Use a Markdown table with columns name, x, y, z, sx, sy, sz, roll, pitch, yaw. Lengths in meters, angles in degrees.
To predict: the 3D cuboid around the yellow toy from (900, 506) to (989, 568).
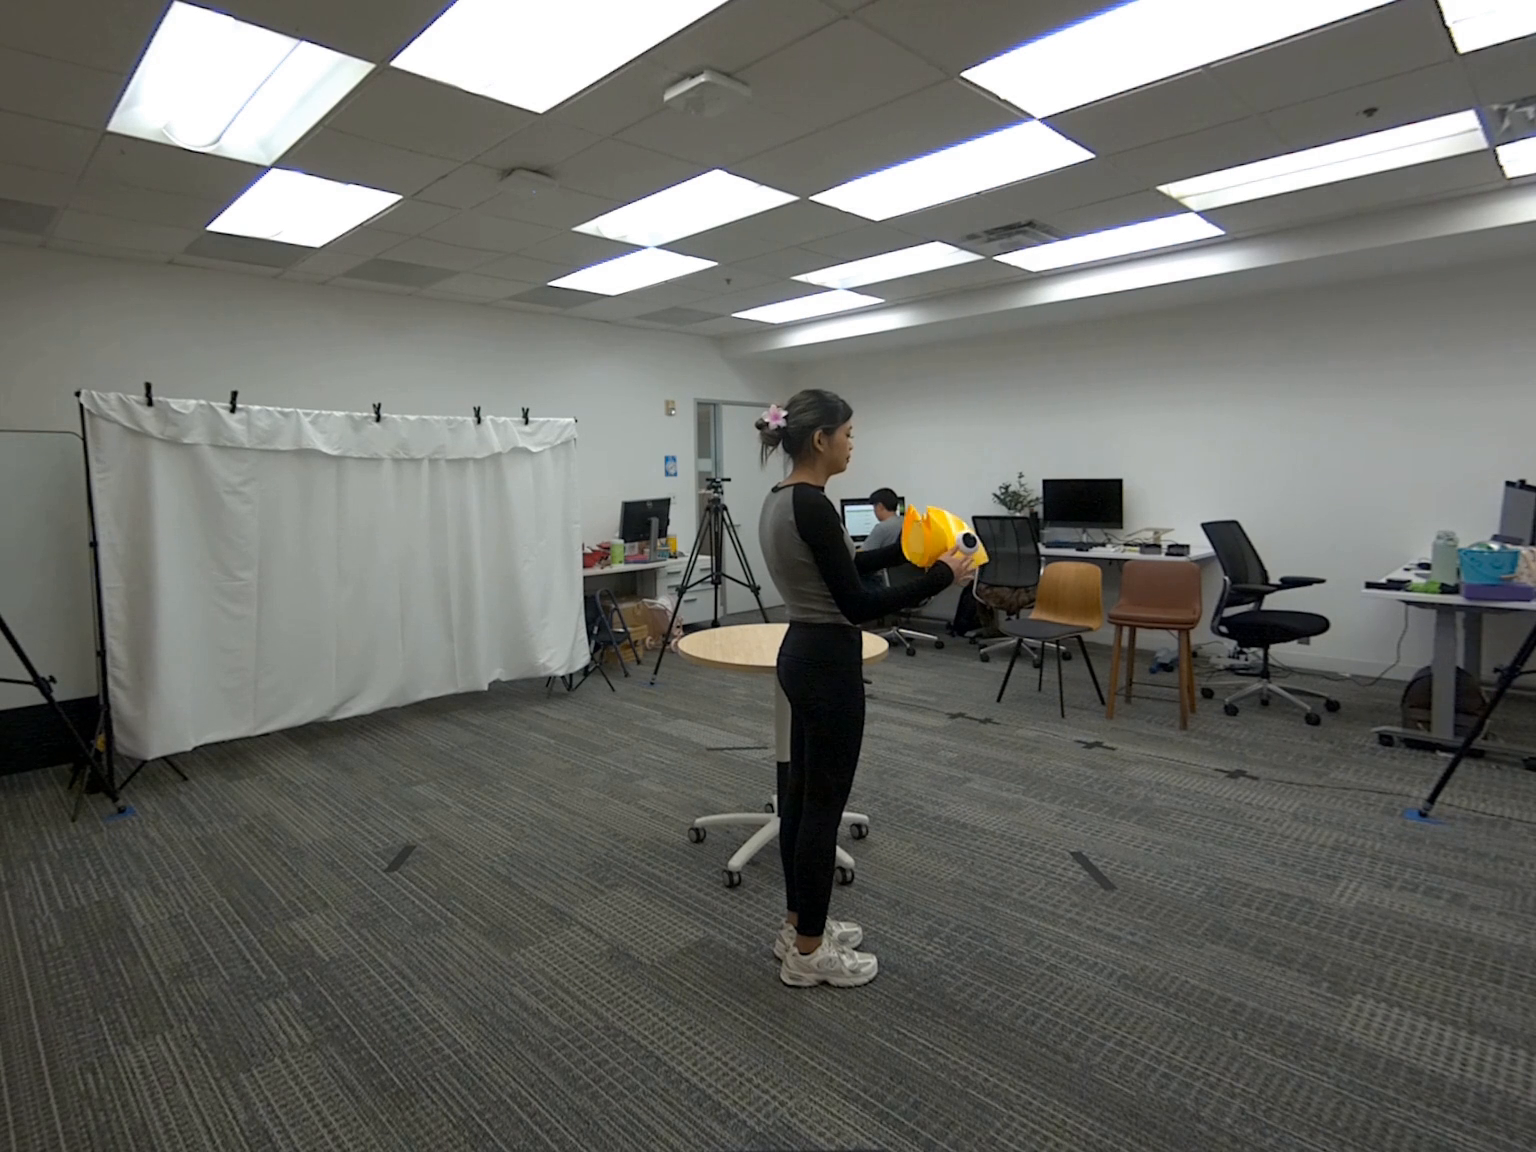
| name | x | y | z | sx | sy | sz | roll | pitch | yaw |
| --- | --- | --- | --- | --- | --- | --- | --- | --- | --- |
| yellow toy | 0.531 | -0.099 | 2.432 | 0.228 | 0.191 | 0.209 | 1 | 13 | -11 |
